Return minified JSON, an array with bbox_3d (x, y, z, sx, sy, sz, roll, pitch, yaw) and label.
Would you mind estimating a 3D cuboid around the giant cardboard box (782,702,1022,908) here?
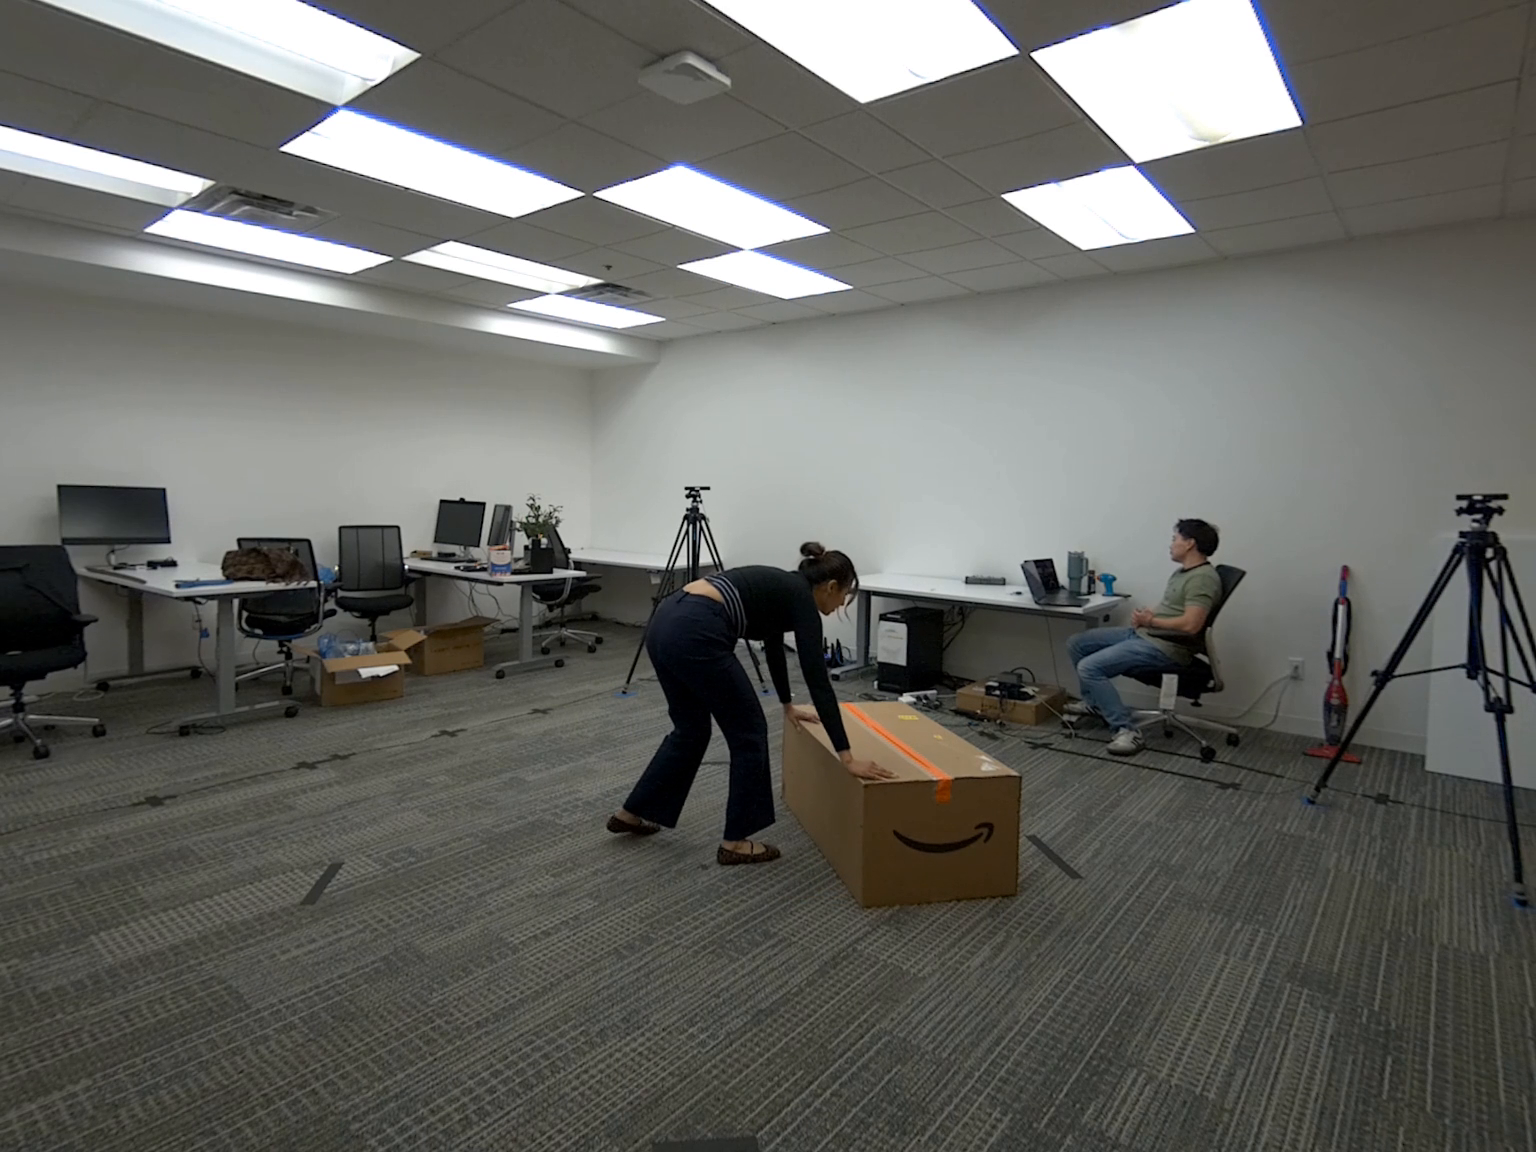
[{"bbox_3d":[0.455,0.829,3.373,0.570,0.424,1.044,-1,6,-13],"label":"giant cardboard box"}]
